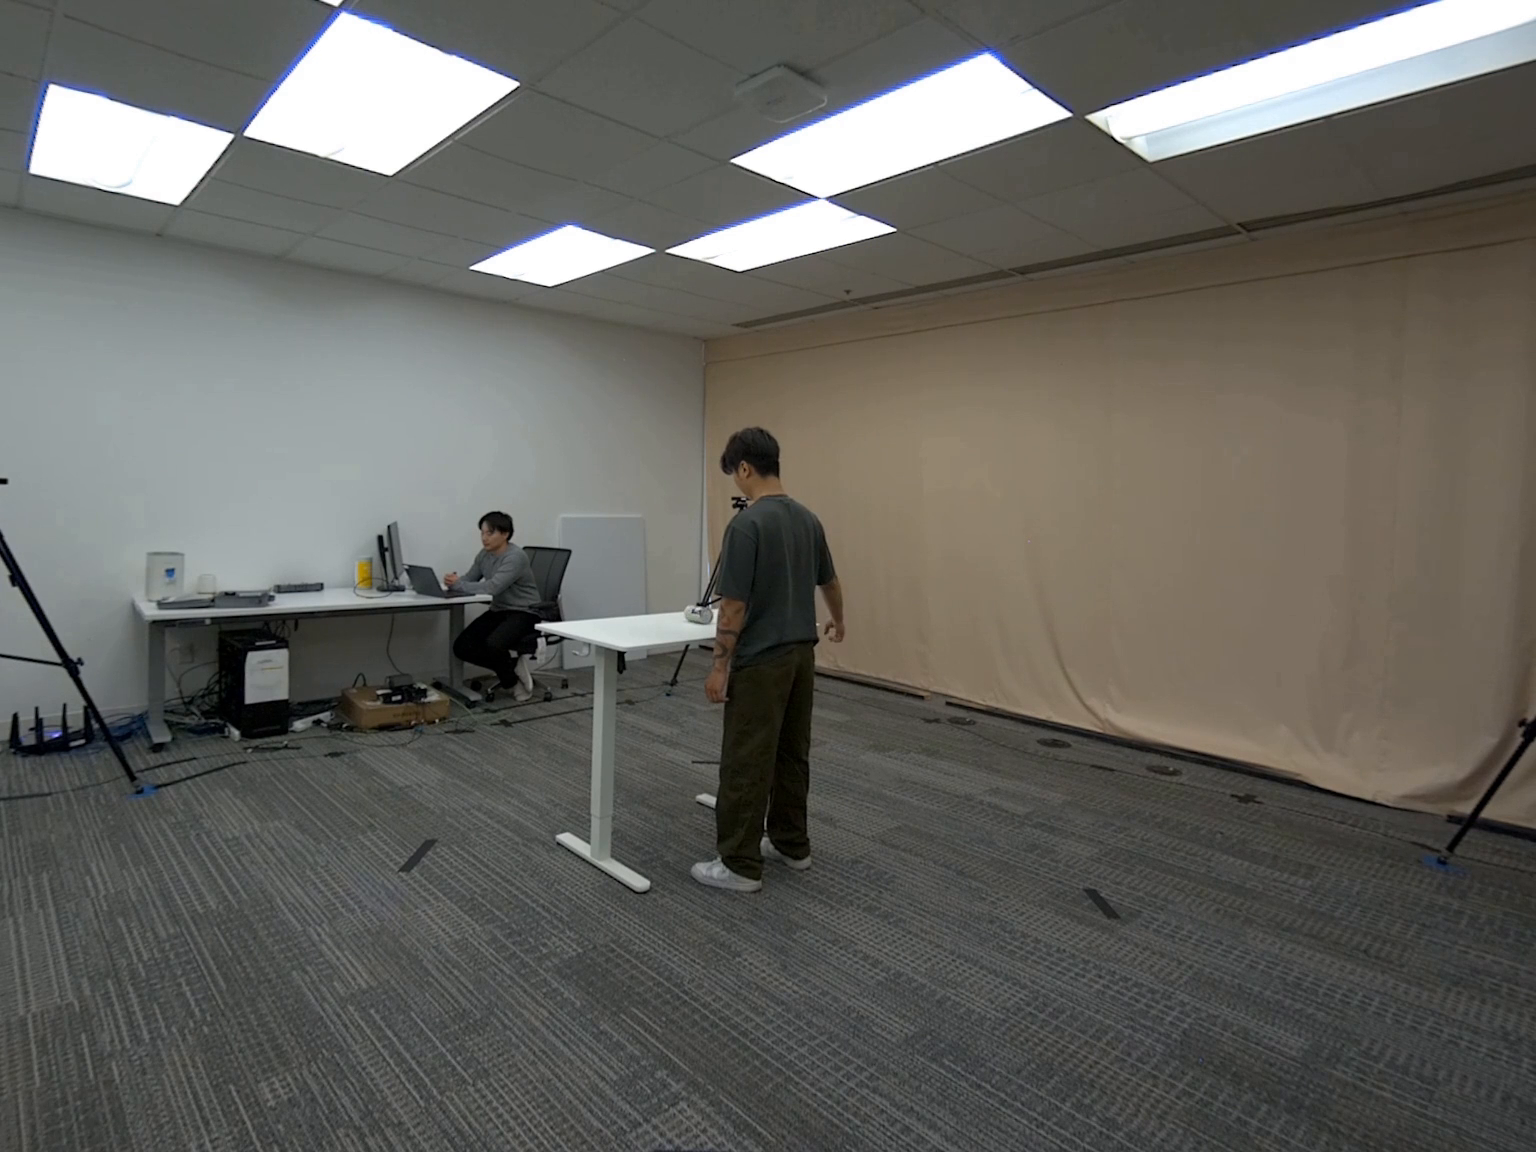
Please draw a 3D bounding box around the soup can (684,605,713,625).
[{"bbox_3d":[-0.286,0.159,3.451,0.065,0.067,0.125,-2,7,-43],"label":"soup can"}]
